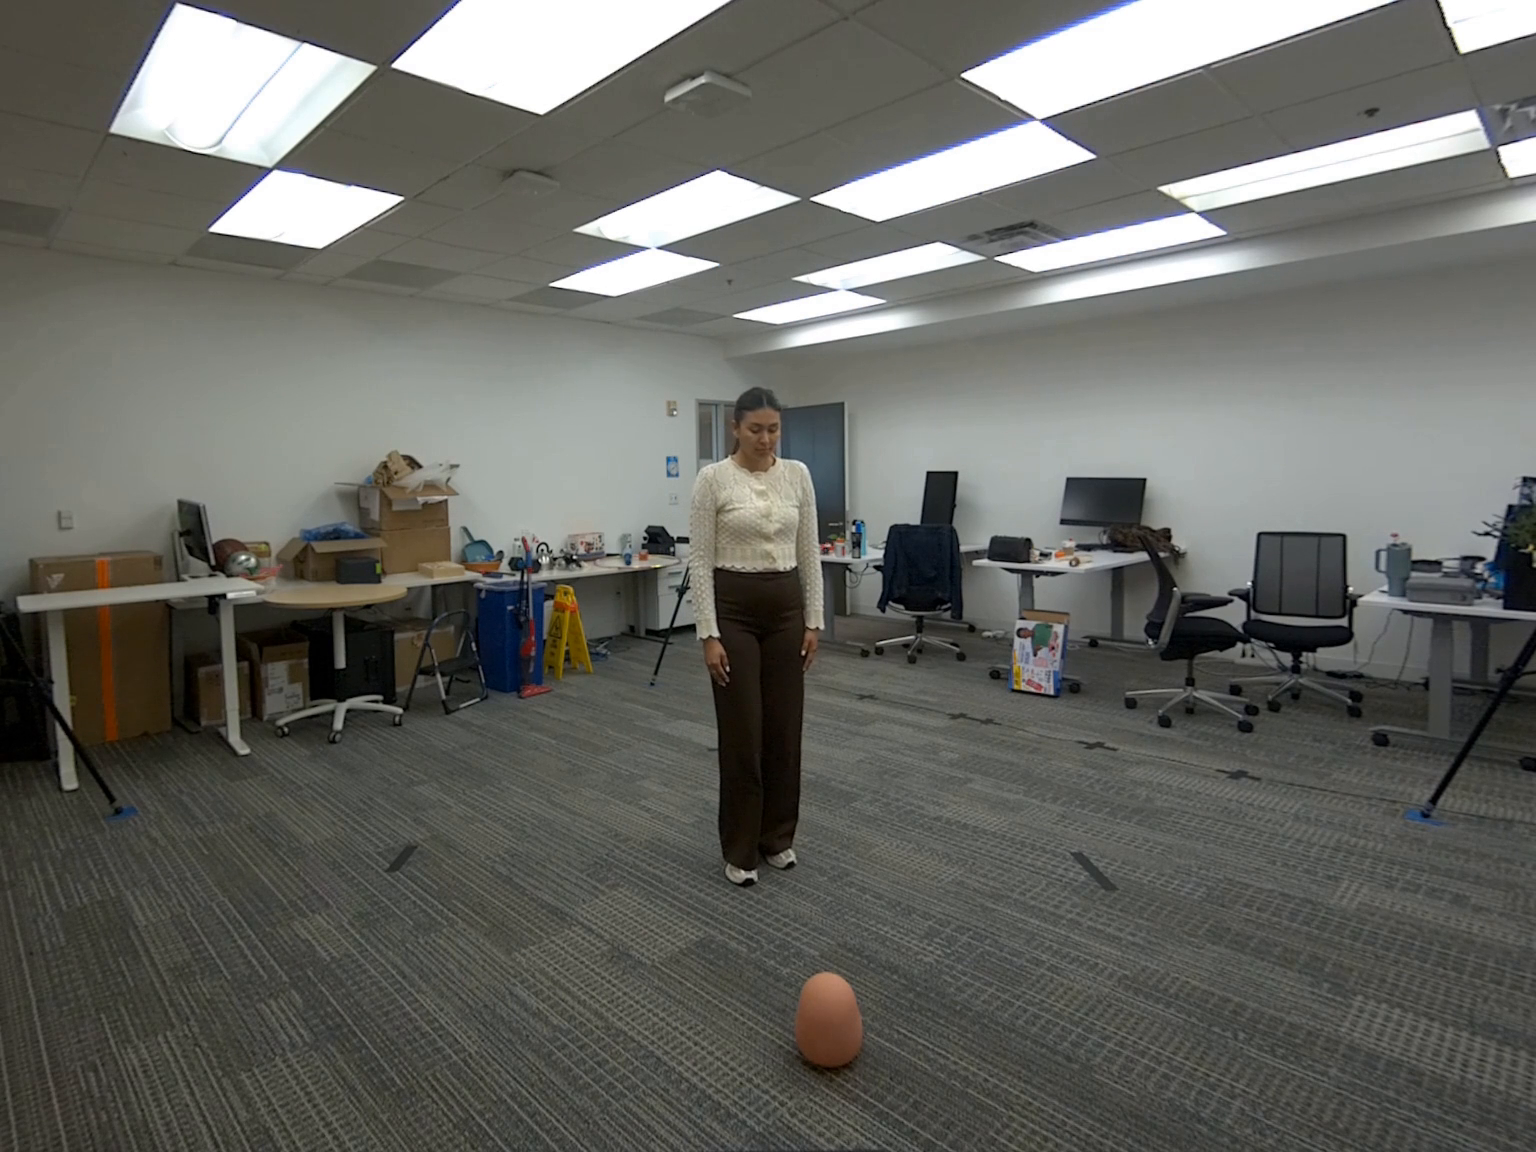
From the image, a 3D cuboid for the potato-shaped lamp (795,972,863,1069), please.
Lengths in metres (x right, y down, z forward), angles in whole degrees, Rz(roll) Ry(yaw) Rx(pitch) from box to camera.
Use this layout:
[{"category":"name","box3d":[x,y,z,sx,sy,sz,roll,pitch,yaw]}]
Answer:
[{"category":"potato-shaped lamp","box3d":[0.151,1.067,2.067,0.166,0.197,0.170,0,6,11]}]
